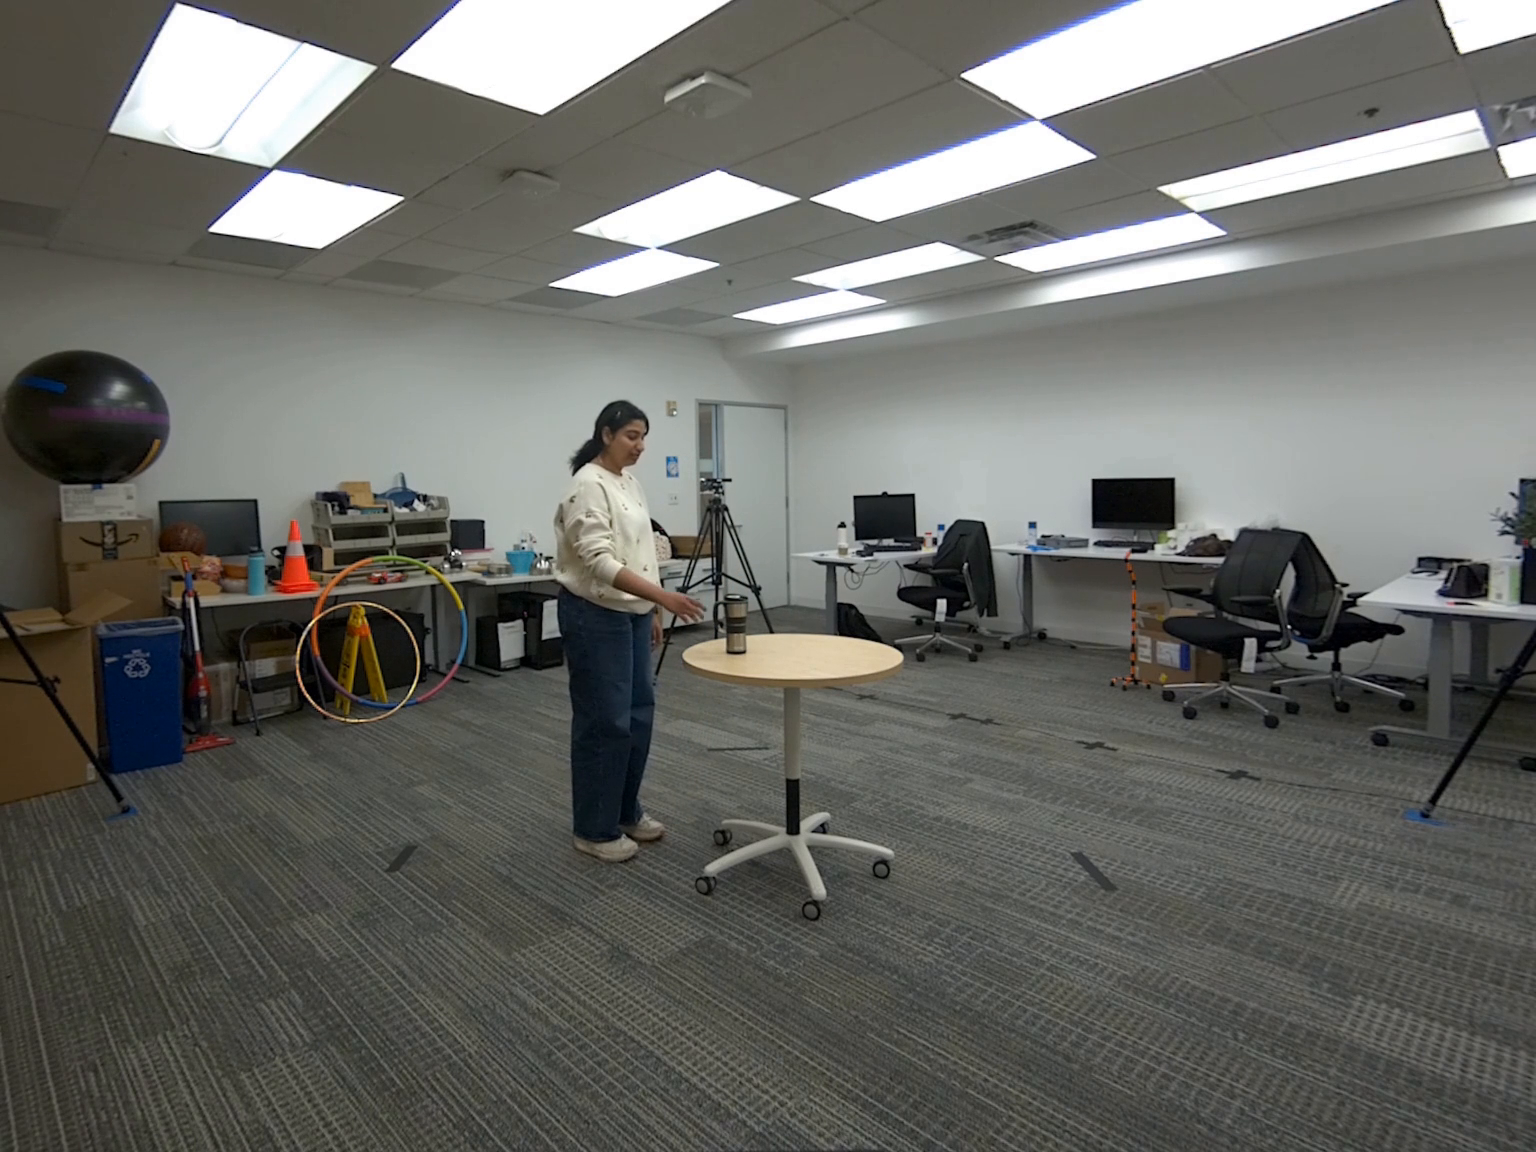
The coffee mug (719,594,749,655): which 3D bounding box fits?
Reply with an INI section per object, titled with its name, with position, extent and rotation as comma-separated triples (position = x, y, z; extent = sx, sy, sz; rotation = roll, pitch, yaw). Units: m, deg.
[coffee mug]
position = -0.118, 0.176, 3.025
extent = 0.086, 0.201, 0.125
rotation = -9, 9, -29
